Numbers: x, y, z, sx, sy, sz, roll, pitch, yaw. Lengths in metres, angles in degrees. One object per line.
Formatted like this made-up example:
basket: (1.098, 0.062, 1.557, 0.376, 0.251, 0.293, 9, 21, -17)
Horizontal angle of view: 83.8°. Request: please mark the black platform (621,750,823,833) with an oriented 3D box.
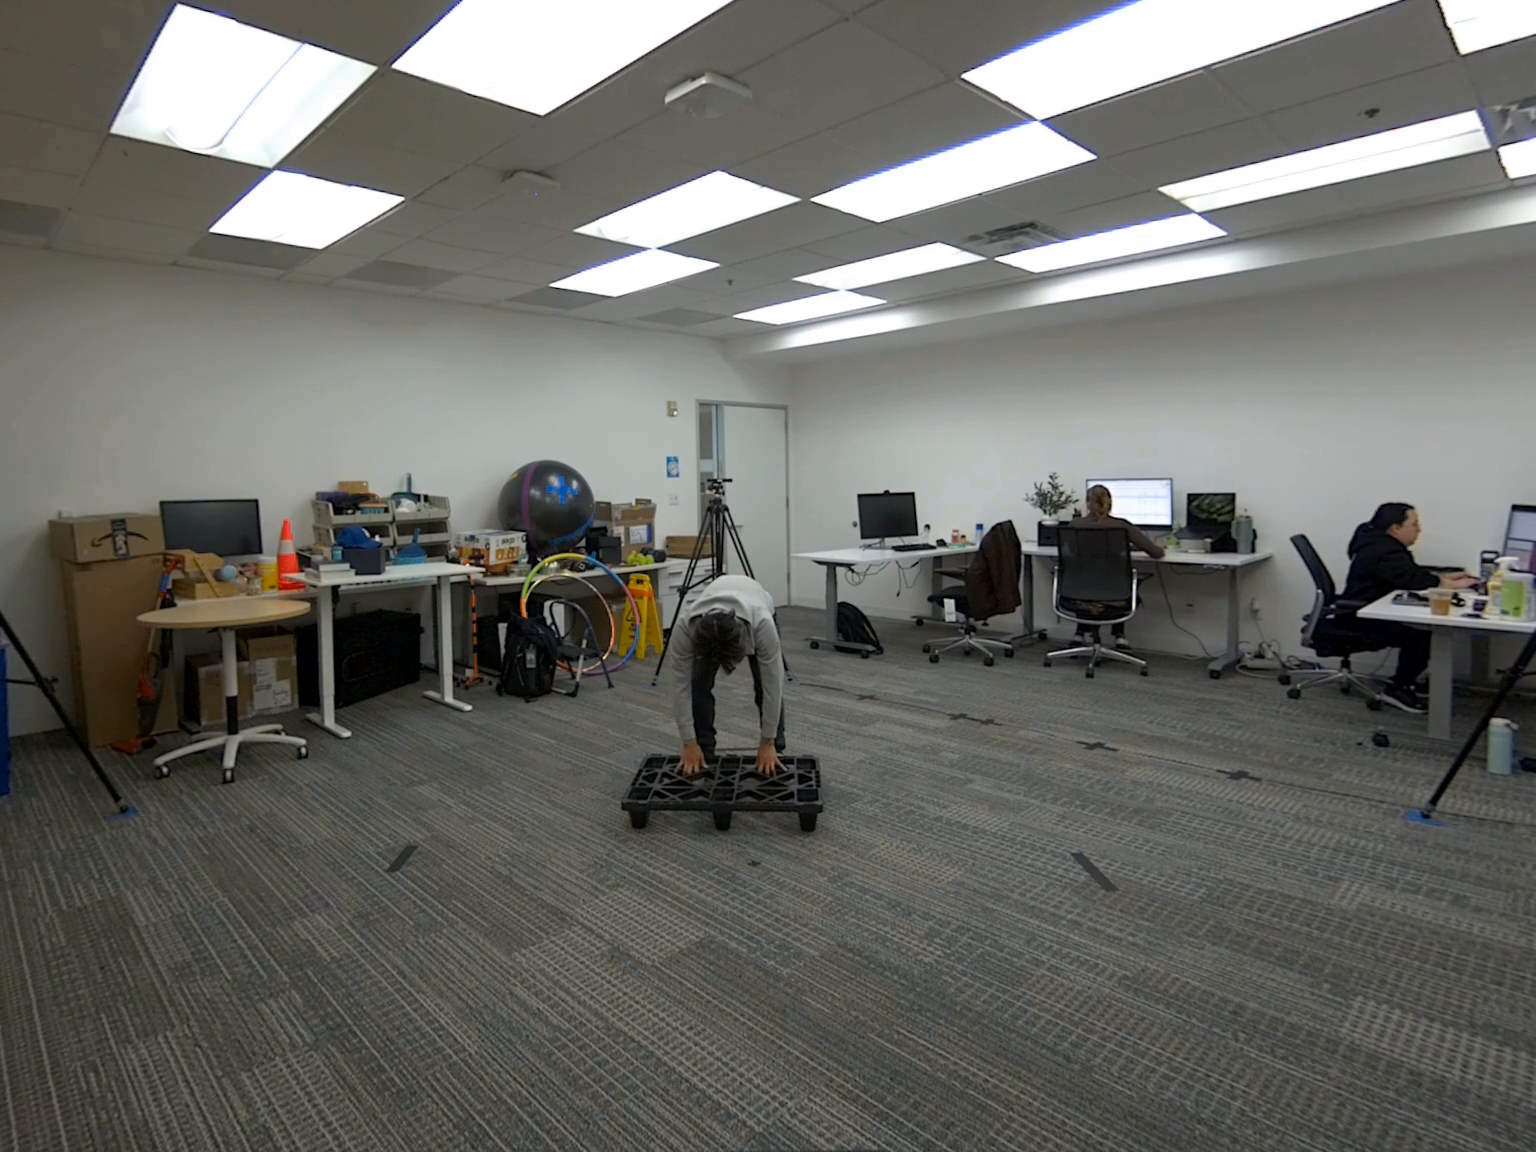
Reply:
black platform: (-0.175, 0.919, 3.636, 0.809, 0.143, 0.604, 0, 5, 4)
